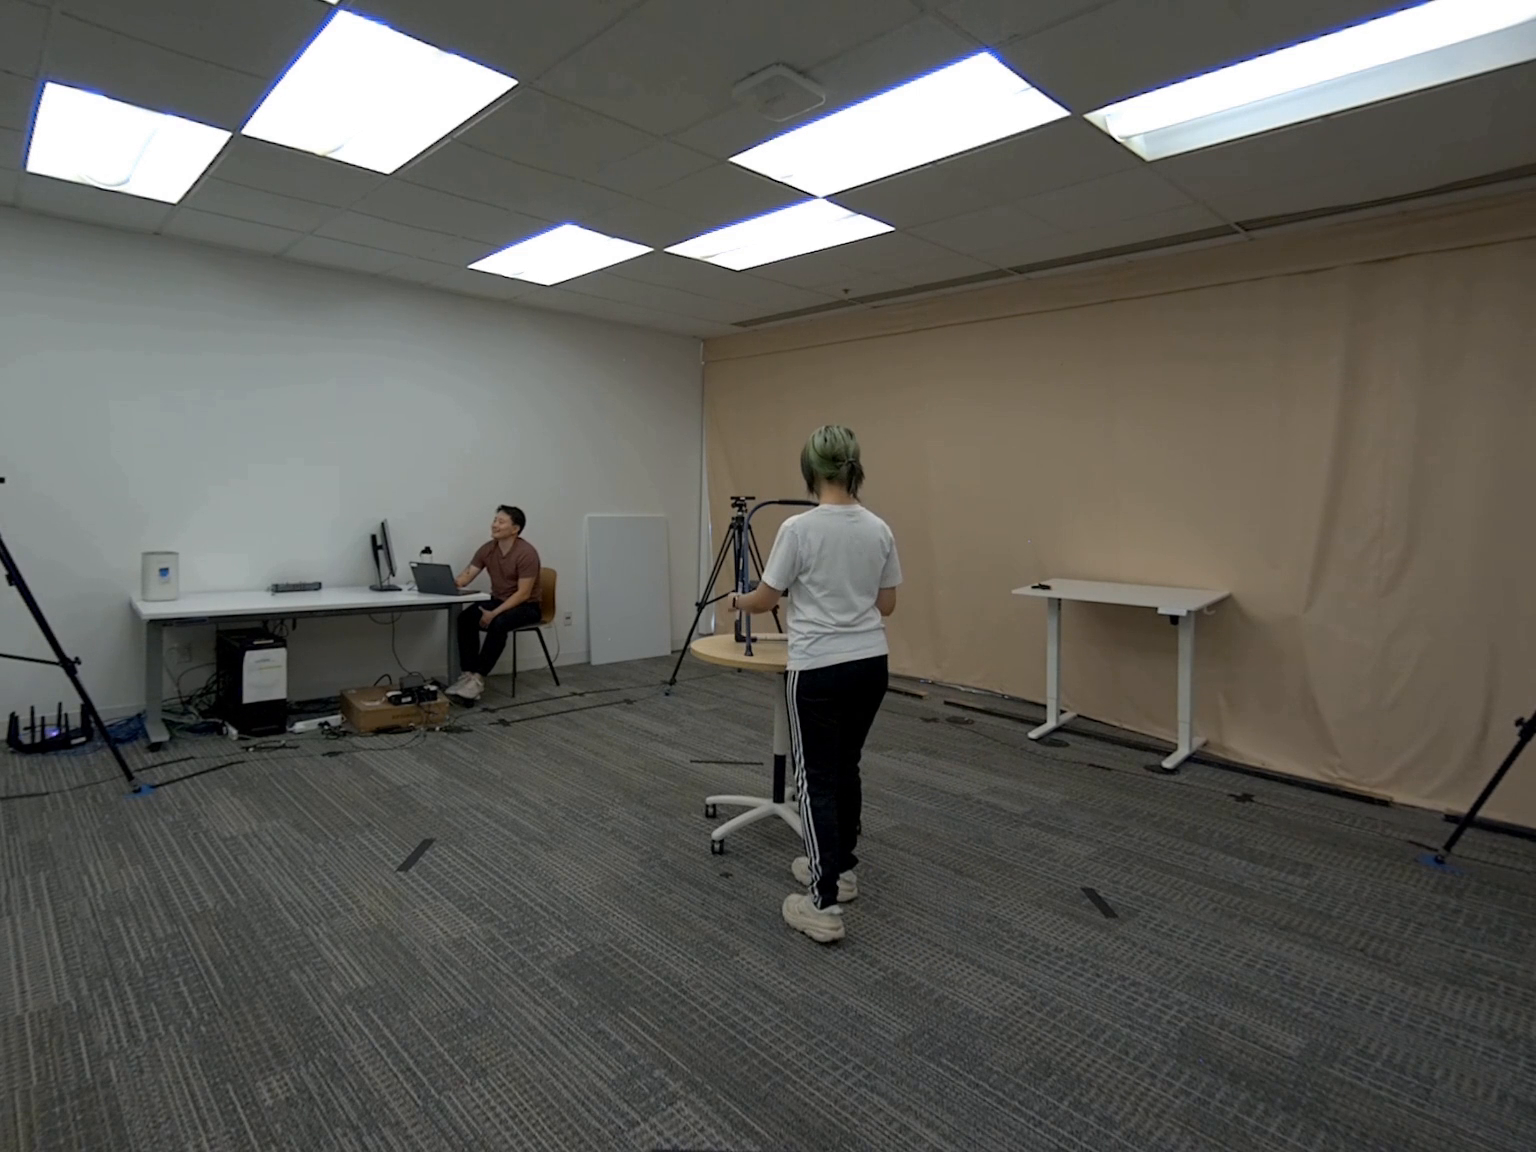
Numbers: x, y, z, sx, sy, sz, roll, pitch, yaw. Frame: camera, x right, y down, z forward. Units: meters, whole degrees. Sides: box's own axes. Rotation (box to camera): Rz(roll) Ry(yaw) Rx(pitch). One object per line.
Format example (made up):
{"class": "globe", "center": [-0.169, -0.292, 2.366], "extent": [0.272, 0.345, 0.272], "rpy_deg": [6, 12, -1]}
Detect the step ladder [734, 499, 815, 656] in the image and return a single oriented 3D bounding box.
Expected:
{"class": "step ladder", "center": [0.097, -0.004, 3.416], "extent": [0.427, 0.605, 0.352], "rpy_deg": [2, 2, -10]}
